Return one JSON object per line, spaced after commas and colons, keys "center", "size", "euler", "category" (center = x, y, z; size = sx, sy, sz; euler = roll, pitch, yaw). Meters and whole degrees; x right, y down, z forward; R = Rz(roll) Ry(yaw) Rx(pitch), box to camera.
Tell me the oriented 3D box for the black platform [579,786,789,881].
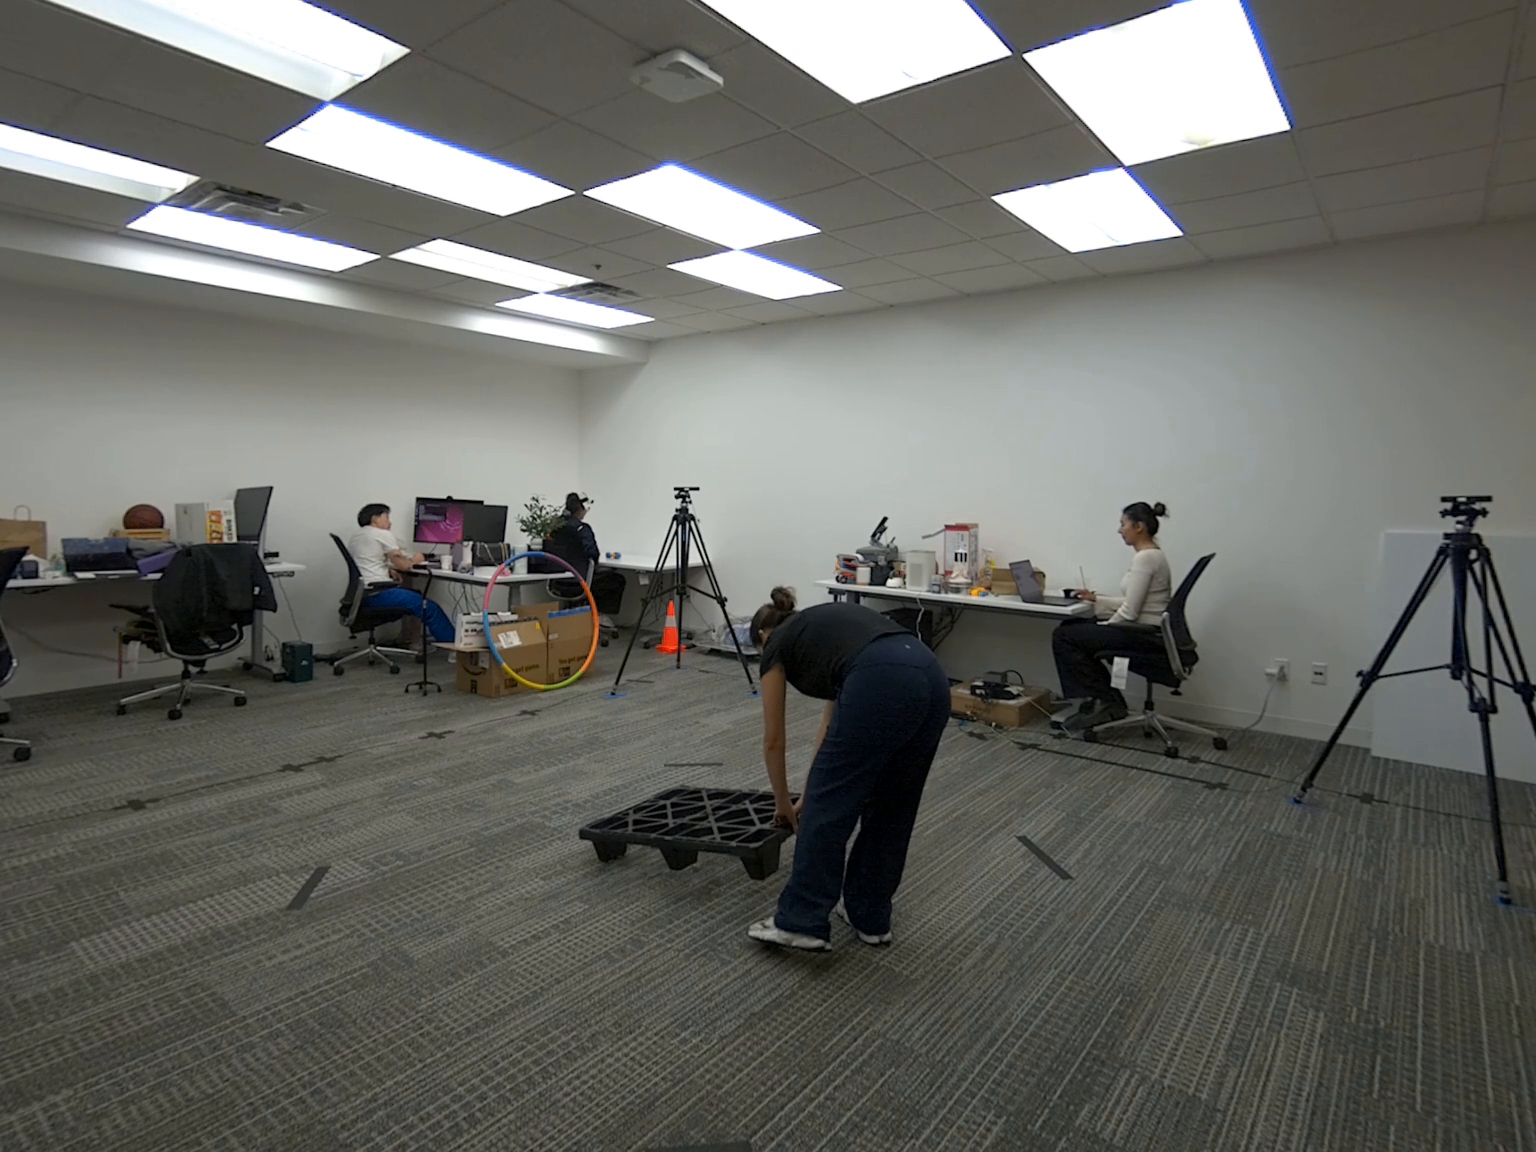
{"center": [-0.194, 0.940, 3.150], "size": [0.826, 0.143, 0.589], "euler": [-7, 1, 34], "category": "black platform"}
